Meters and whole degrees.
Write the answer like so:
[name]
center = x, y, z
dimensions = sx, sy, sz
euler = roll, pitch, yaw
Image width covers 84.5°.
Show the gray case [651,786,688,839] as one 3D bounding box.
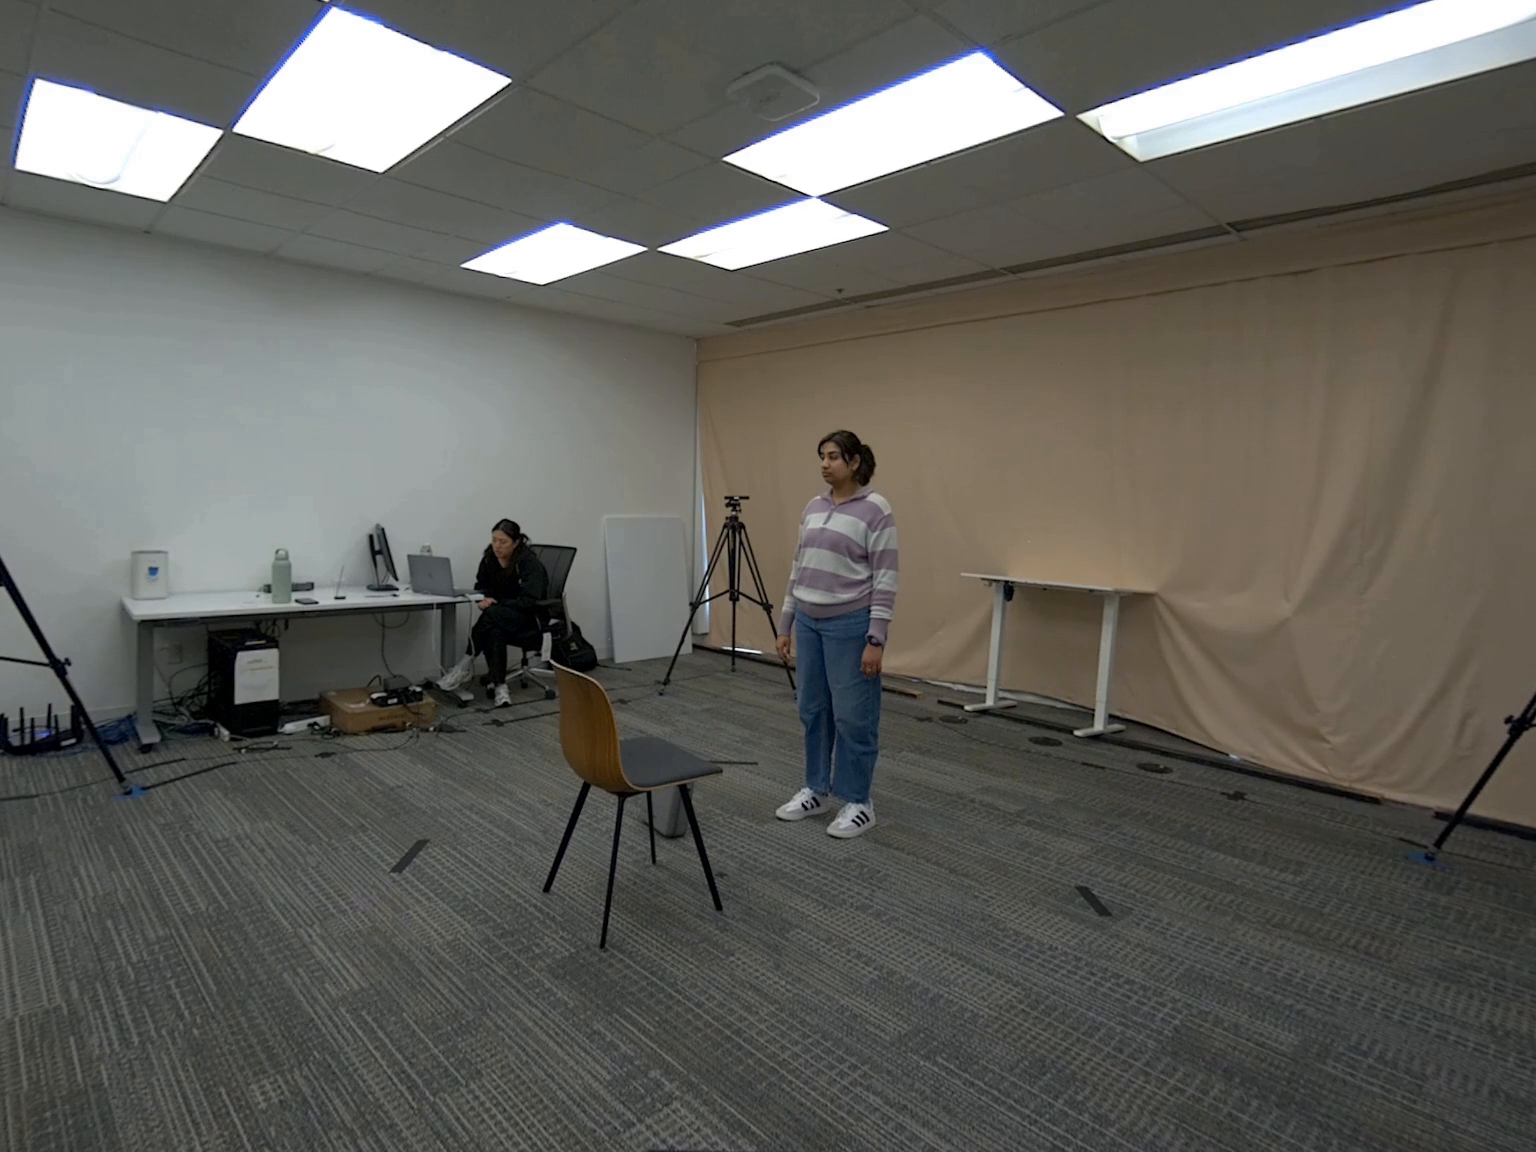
[gray case]
center = -0.431, 0.924, 3.526
dimensions = 0.102, 0.260, 0.263
euler = 7, 0, -30
